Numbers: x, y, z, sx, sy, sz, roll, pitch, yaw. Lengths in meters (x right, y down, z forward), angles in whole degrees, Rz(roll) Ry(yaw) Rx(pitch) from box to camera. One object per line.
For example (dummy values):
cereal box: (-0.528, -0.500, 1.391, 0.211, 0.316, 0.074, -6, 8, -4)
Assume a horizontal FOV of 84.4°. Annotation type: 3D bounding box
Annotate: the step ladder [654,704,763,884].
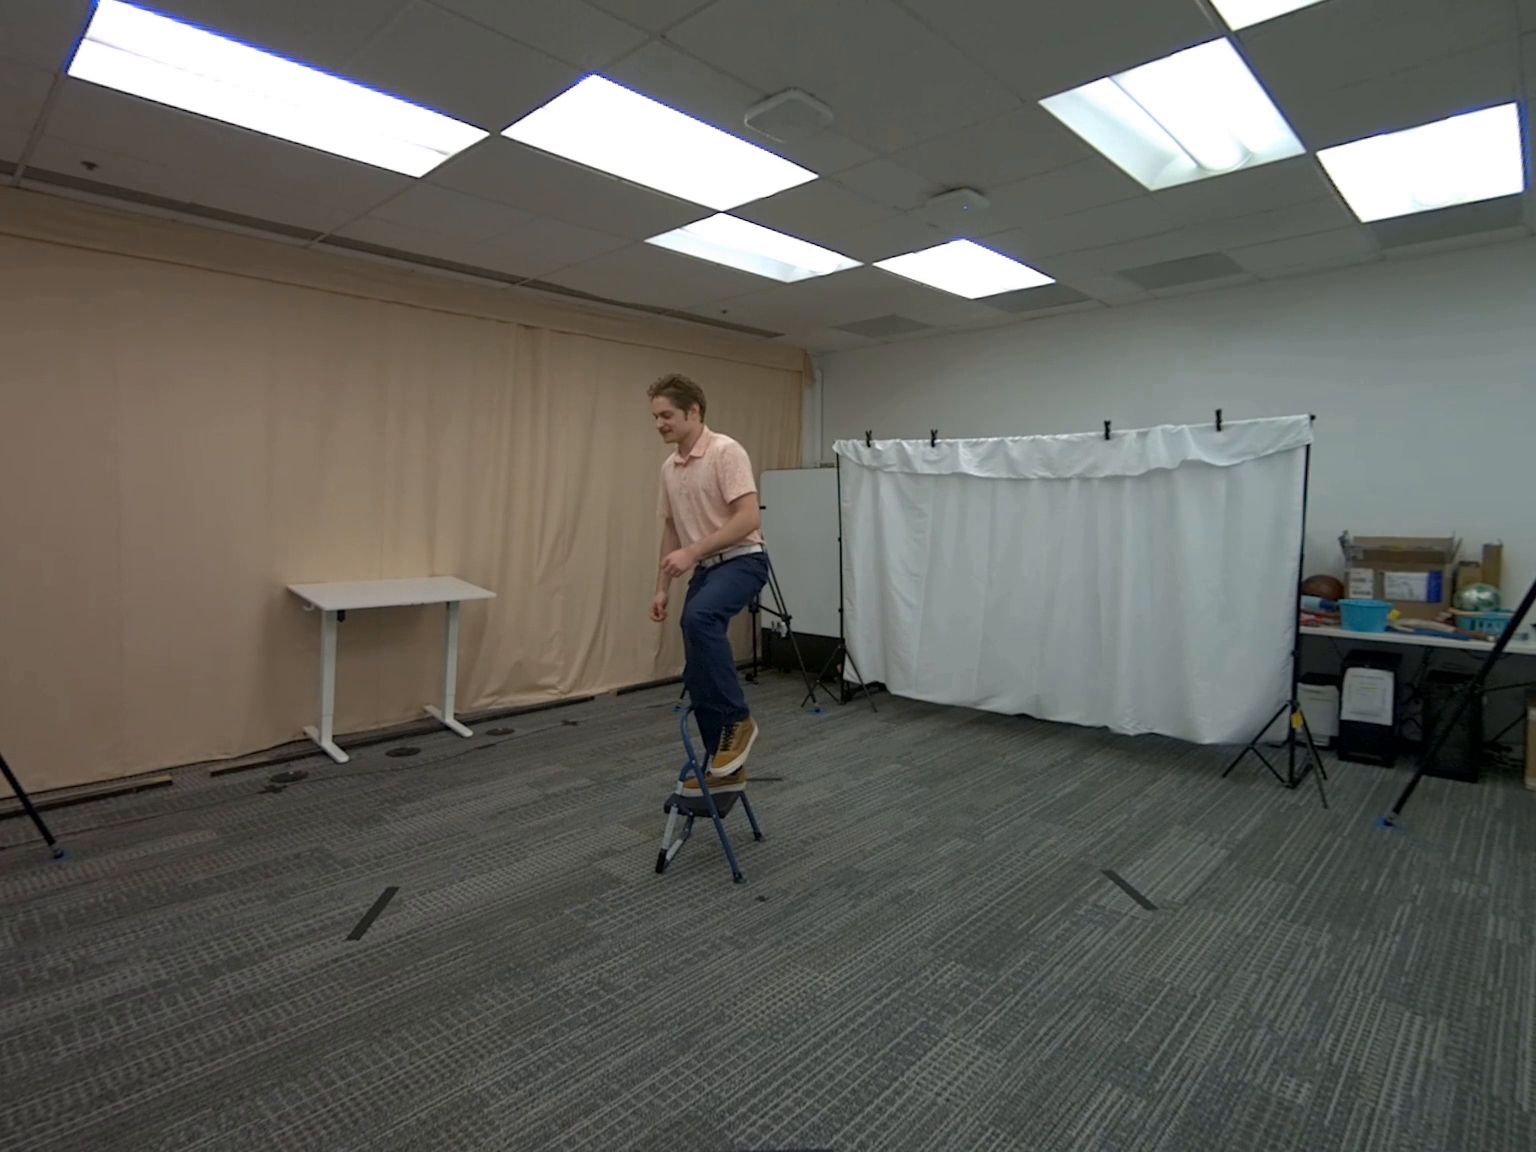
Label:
step ladder: (-0.225, 0.816, 3.338, 0.354, 0.605, 0.426, 0, 3, 11)
